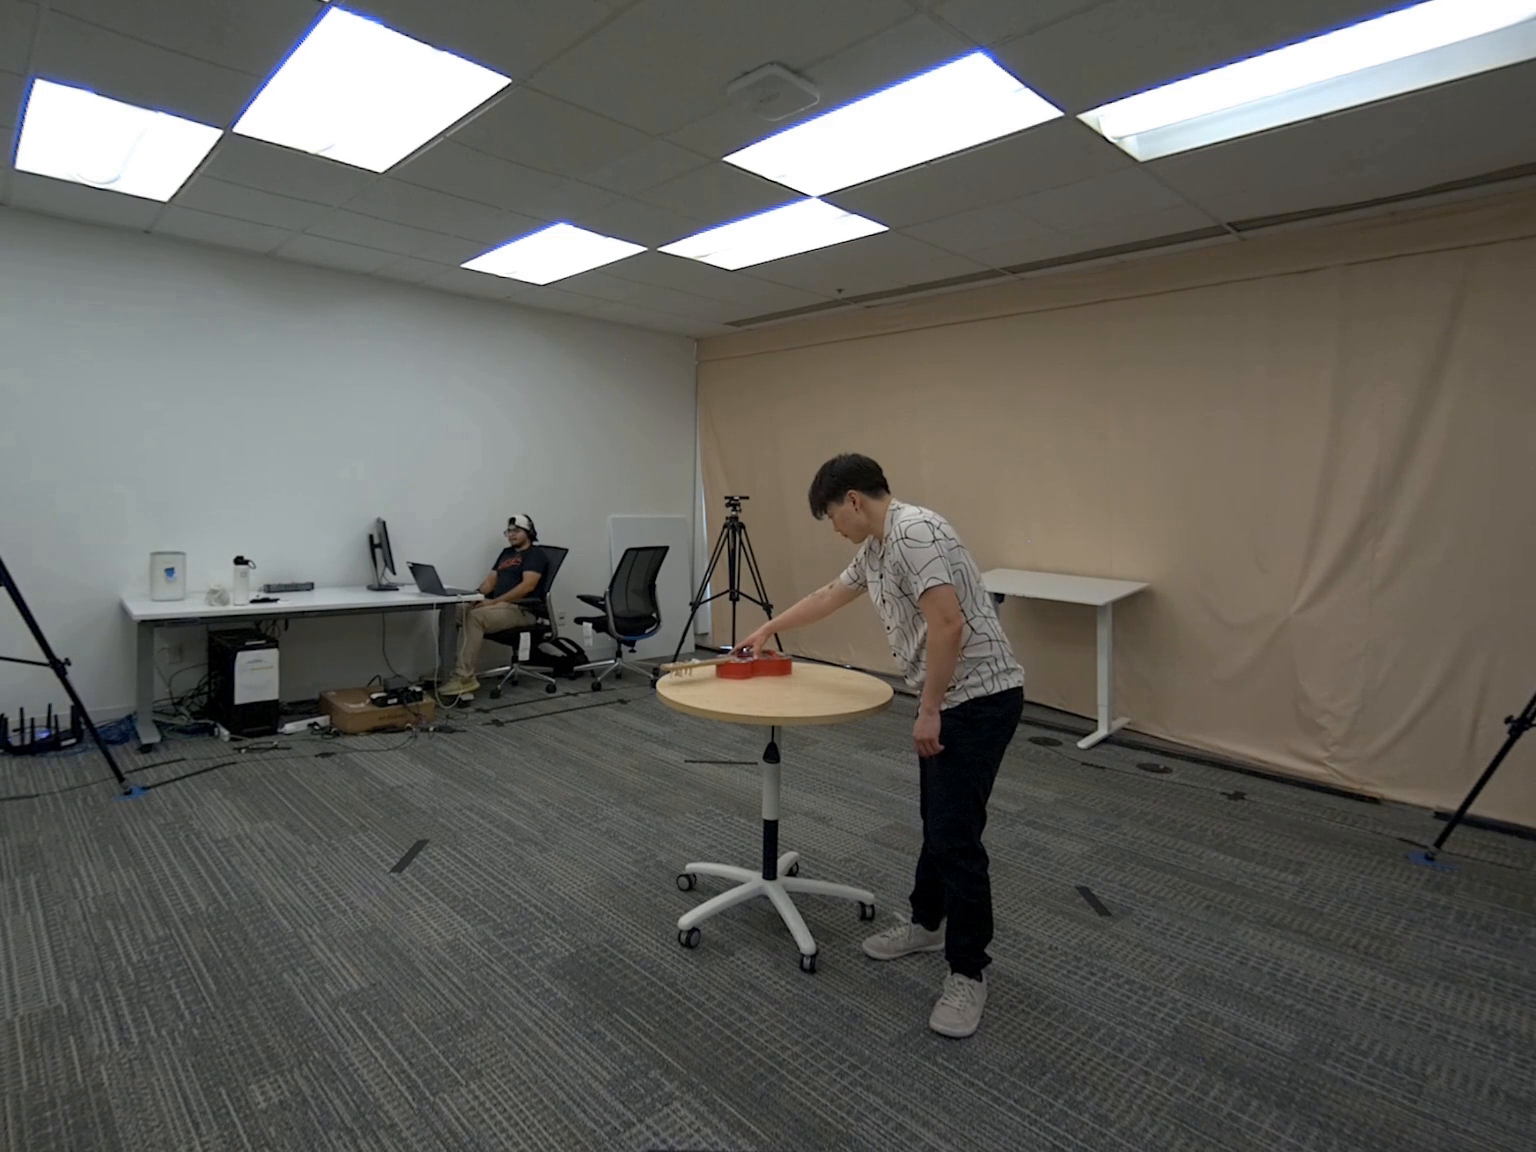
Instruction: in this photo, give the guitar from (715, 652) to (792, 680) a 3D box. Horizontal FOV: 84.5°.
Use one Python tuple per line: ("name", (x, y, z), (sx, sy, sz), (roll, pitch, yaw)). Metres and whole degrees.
("guitar", (-0.155, 0.310, 2.875), (0.488, 0.070, 0.197), (-2, 6, -28))
